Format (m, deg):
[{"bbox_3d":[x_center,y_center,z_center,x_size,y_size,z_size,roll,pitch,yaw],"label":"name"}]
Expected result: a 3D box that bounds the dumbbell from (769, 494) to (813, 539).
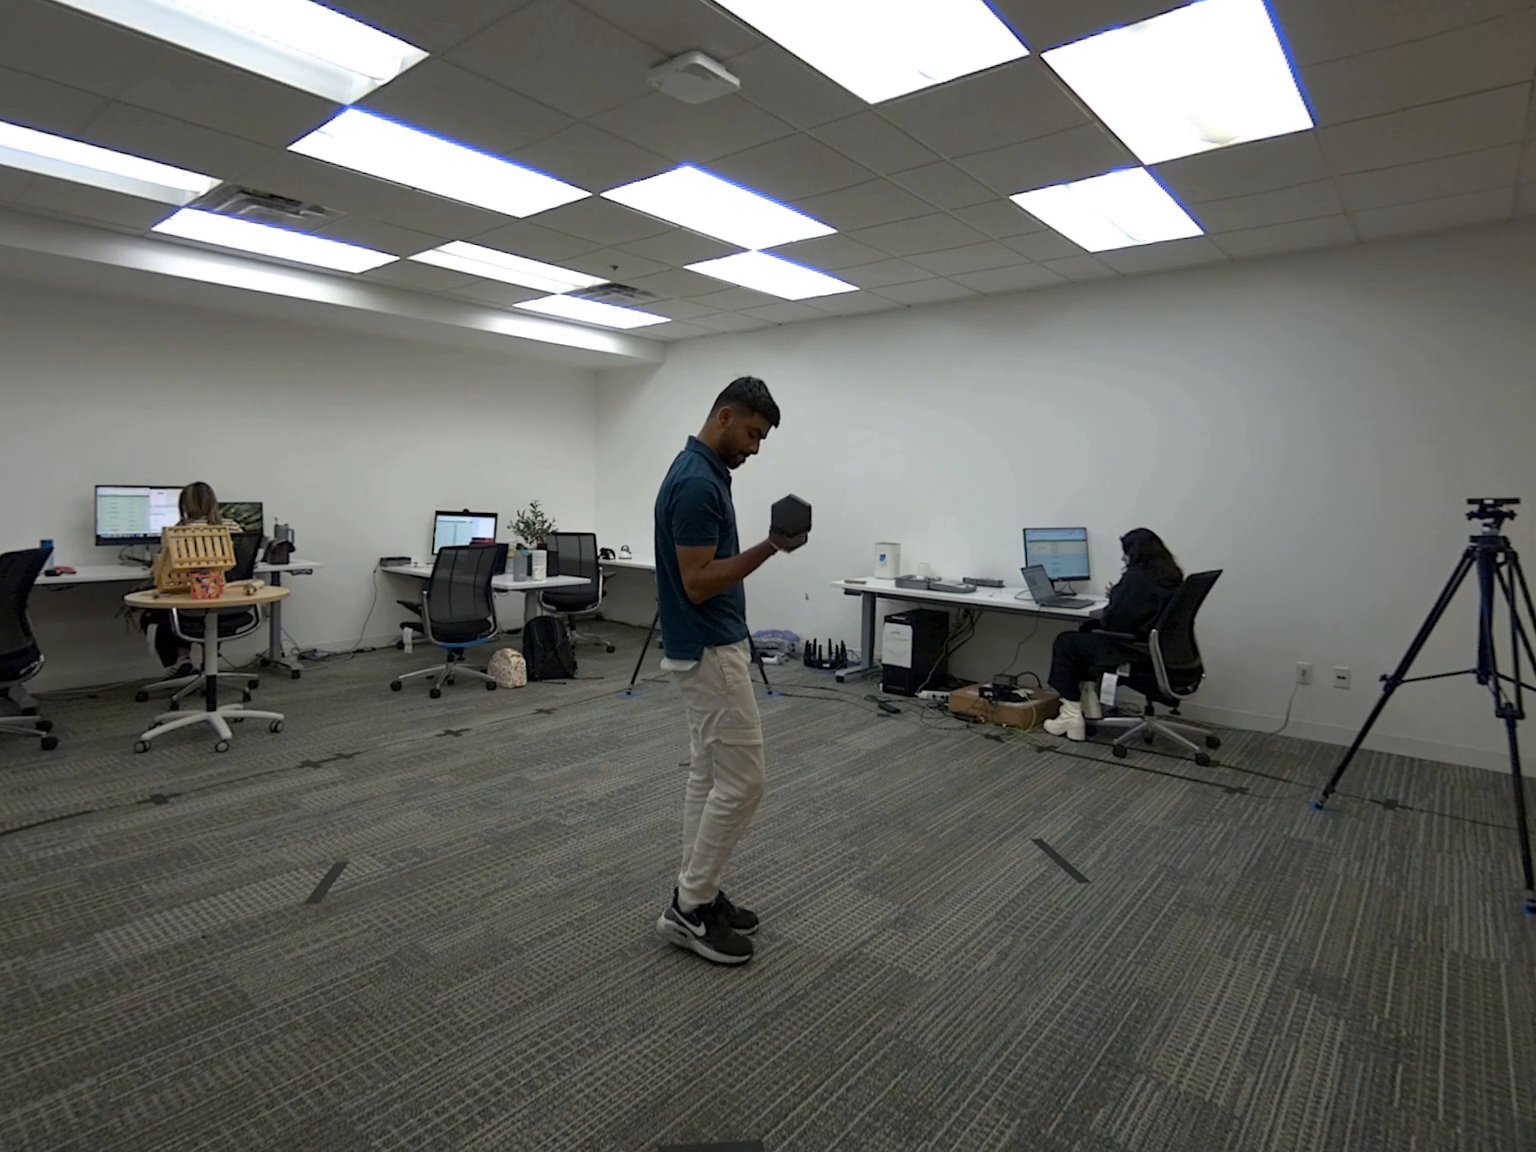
[{"bbox_3d":[0.053,-0.136,2.368,0.109,0.124,0.291,0,-6,0],"label":"dumbbell"}]
